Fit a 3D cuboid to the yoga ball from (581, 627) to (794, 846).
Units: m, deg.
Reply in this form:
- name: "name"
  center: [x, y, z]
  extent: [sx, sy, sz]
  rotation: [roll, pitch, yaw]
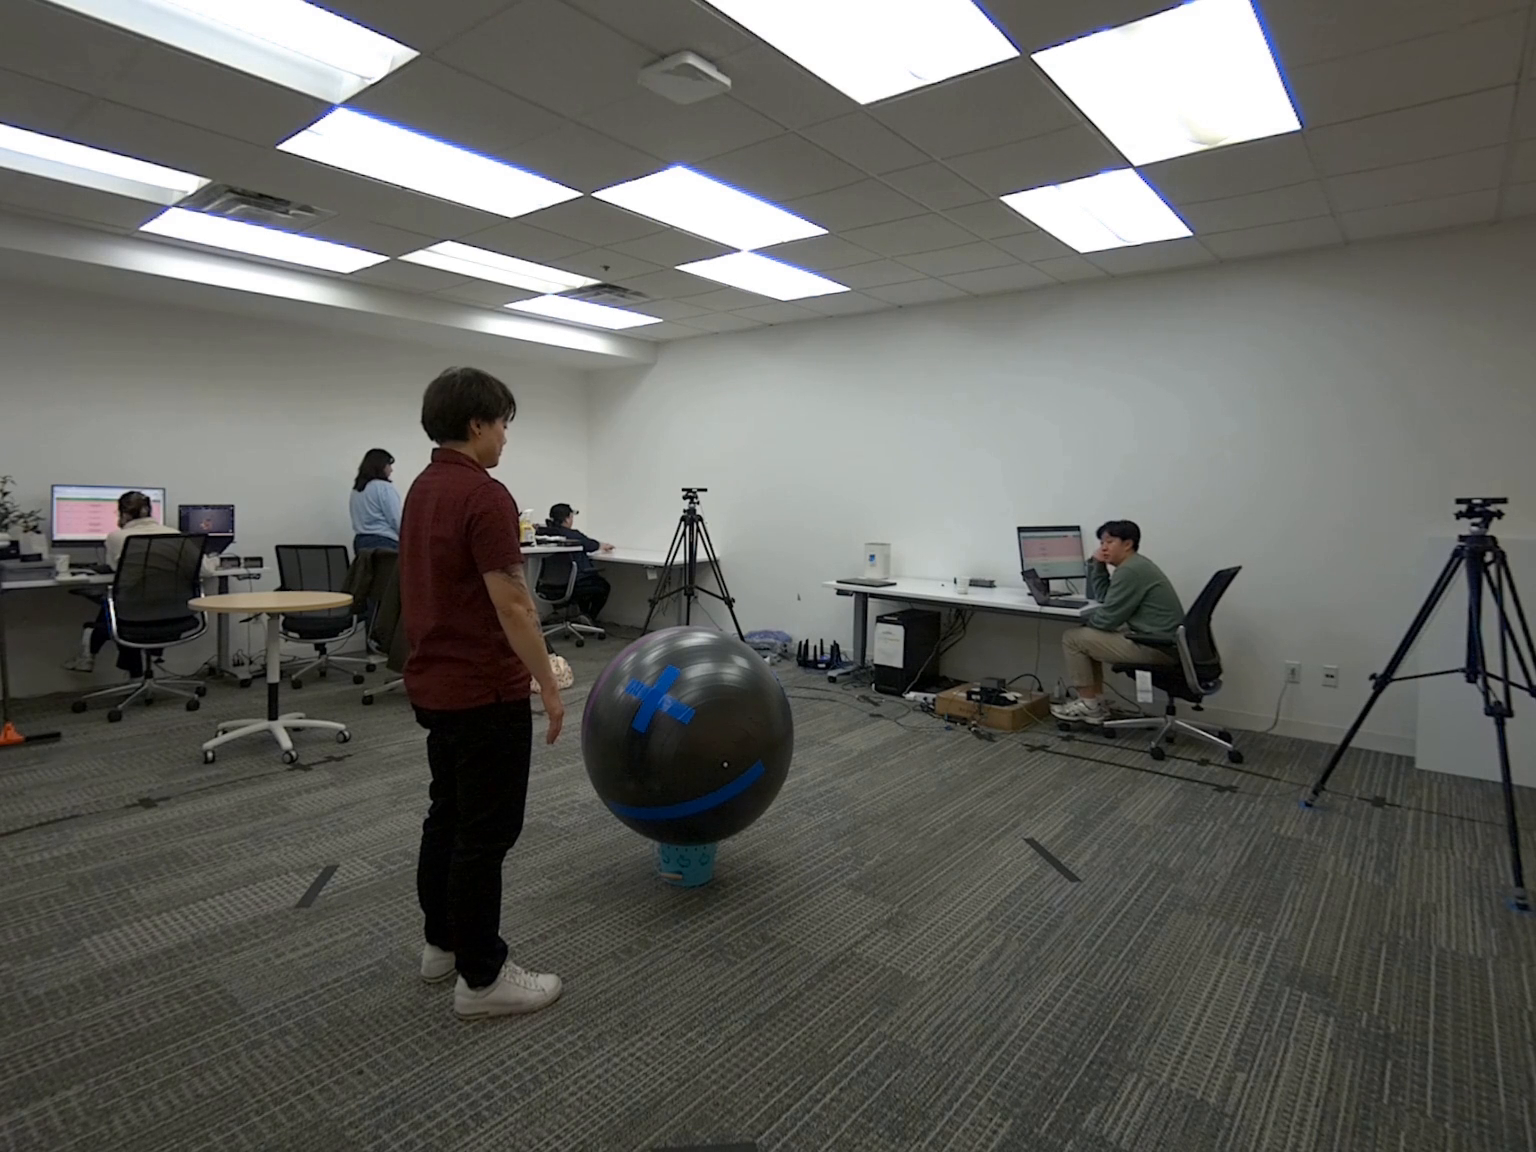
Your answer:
- name: "yoga ball"
  center: [-0.294, 0.562, 3.045]
  extent: [0.757, 0.755, 0.762]
  rotation: [1, 4, -2]
